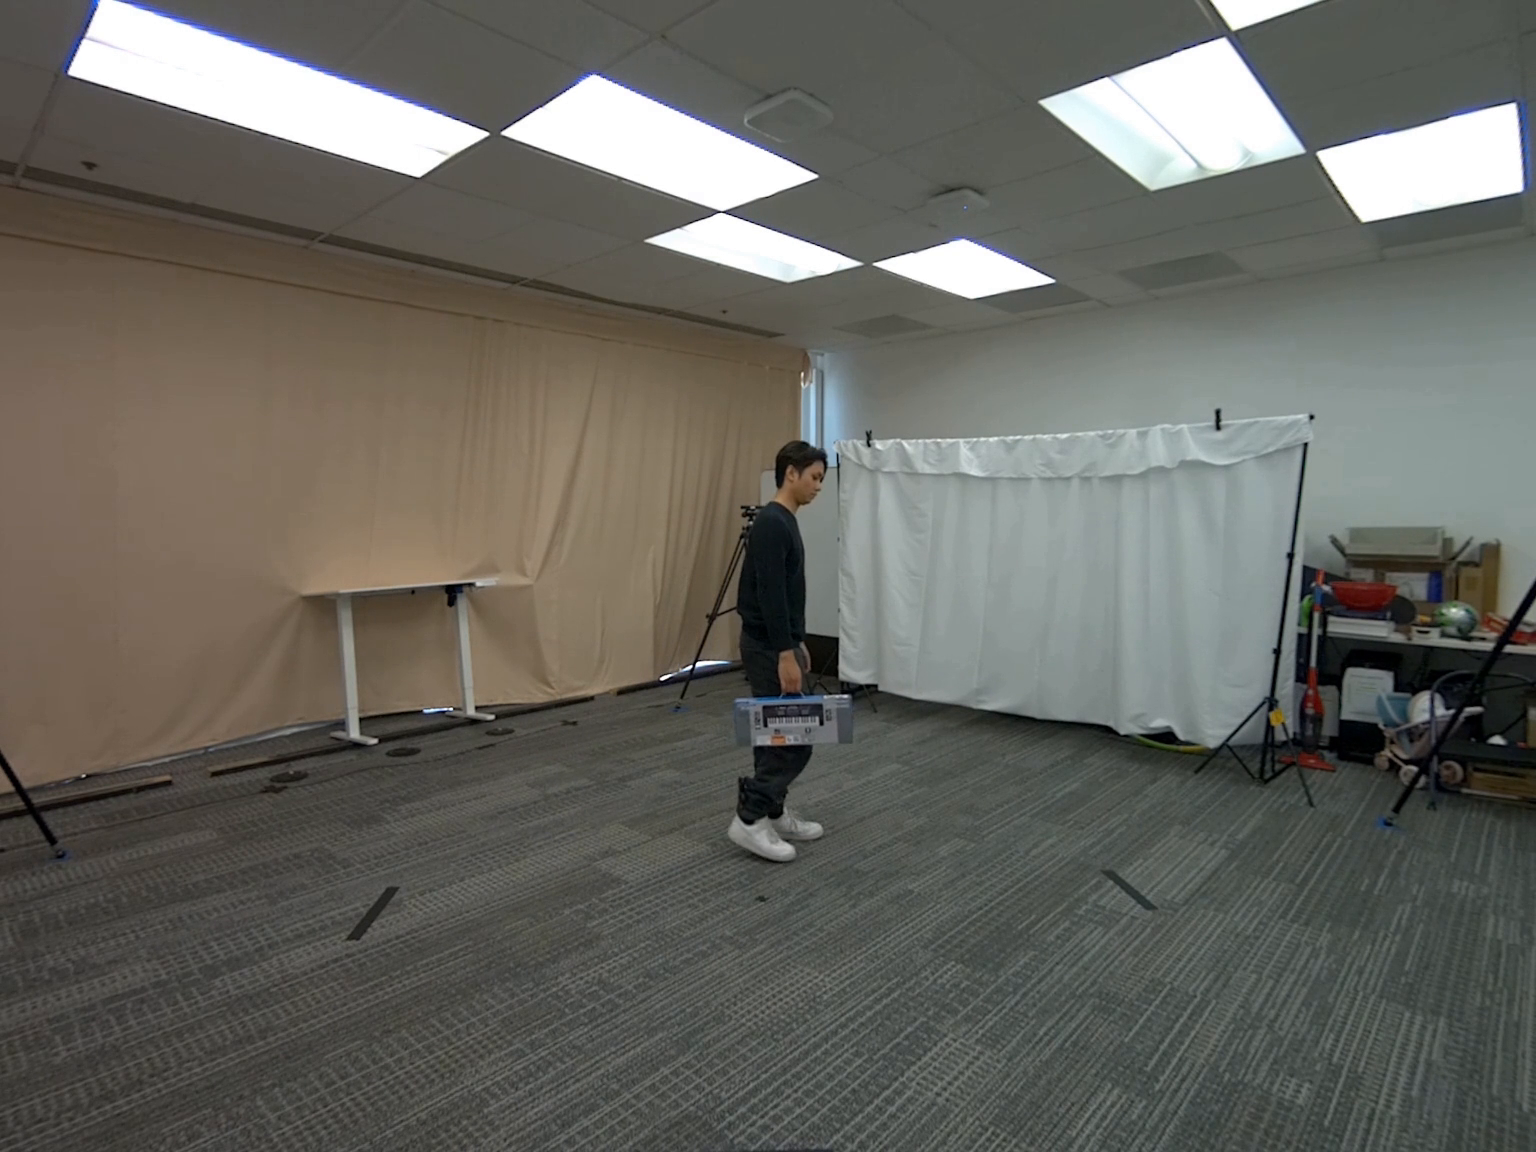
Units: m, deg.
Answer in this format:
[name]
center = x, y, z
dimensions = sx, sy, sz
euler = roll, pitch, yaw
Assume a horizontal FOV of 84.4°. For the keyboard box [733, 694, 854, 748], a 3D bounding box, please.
[keyboard box]
center = 0.100, 0.540, 3.176
dimensions = 0.440, 0.175, 0.059
euler = -3, 3, 6
